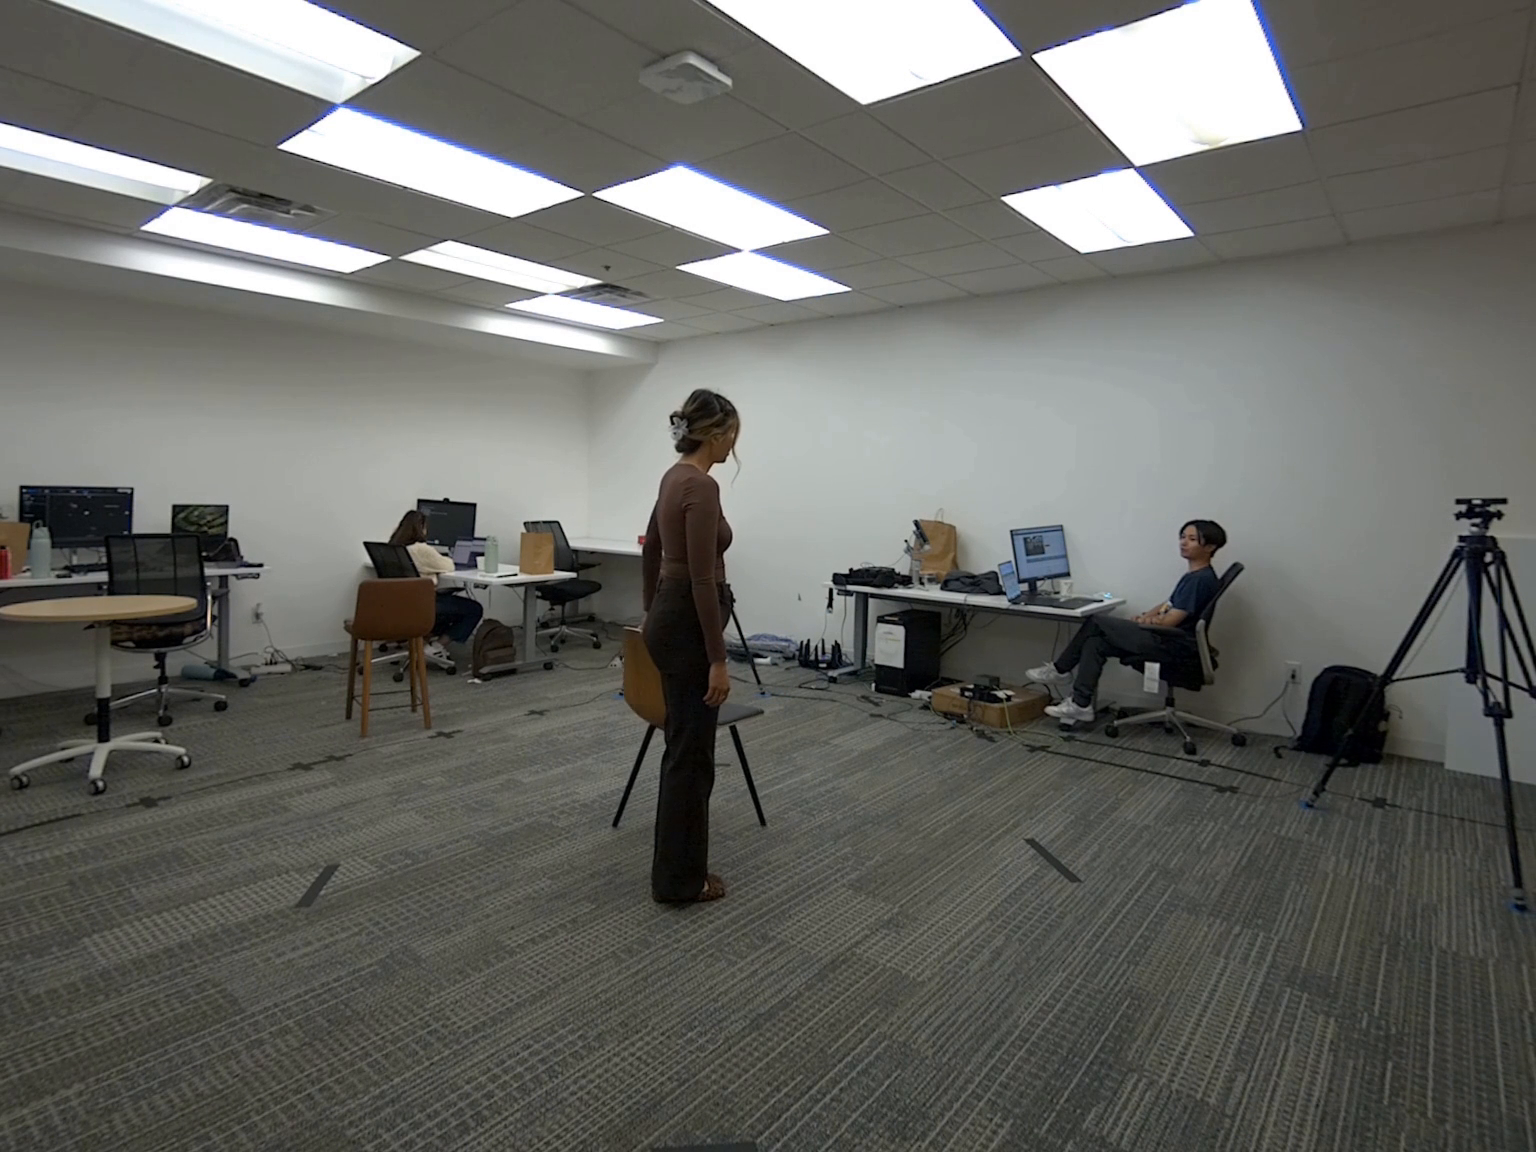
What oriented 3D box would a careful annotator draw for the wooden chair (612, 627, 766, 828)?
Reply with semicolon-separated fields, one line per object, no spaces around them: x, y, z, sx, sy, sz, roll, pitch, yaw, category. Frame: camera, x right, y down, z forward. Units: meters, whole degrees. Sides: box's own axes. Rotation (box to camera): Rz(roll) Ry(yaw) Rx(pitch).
-0.323;0.603;3.484;0.494;0.873;0.509;2;7;41;wooden chair
